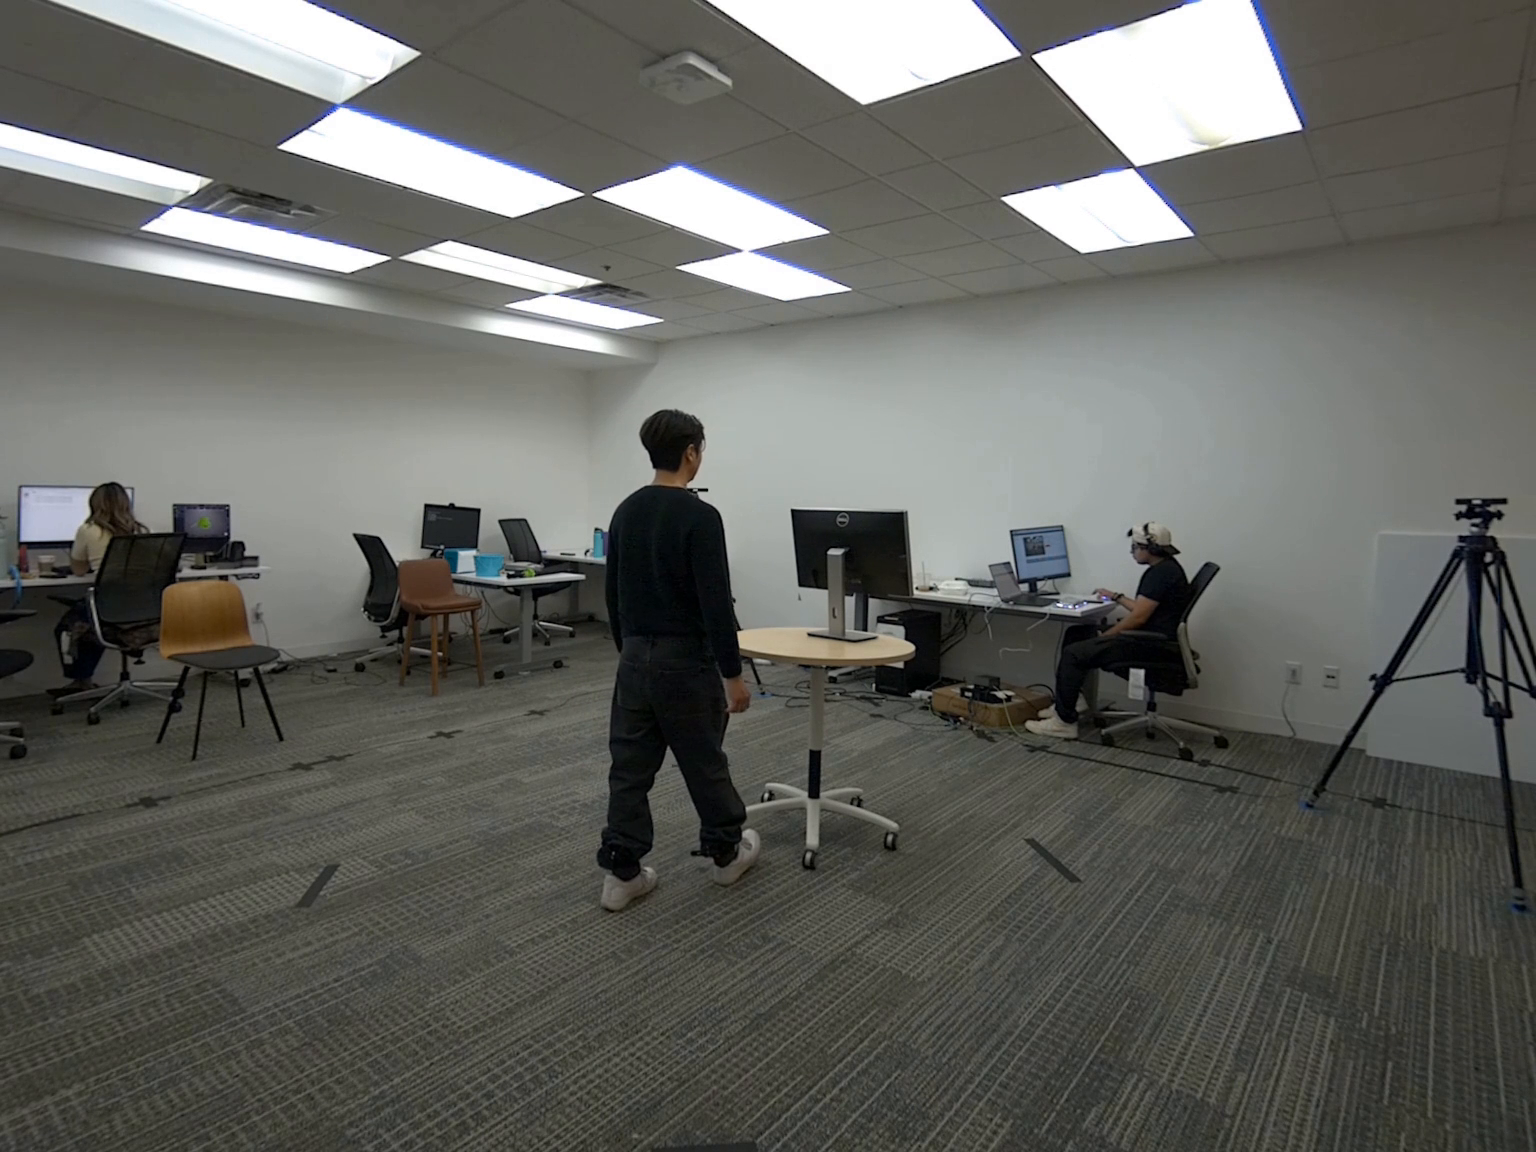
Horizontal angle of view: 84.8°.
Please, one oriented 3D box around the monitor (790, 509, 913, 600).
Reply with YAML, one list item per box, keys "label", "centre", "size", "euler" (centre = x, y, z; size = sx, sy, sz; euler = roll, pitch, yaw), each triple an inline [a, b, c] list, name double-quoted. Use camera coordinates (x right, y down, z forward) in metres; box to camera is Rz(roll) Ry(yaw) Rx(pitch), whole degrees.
- label: "monitor"
  centre: [0.314, -0.011, 3.598]
  size: [0.556, 0.522, 0.181]
  euler: [4, 2, 36]
